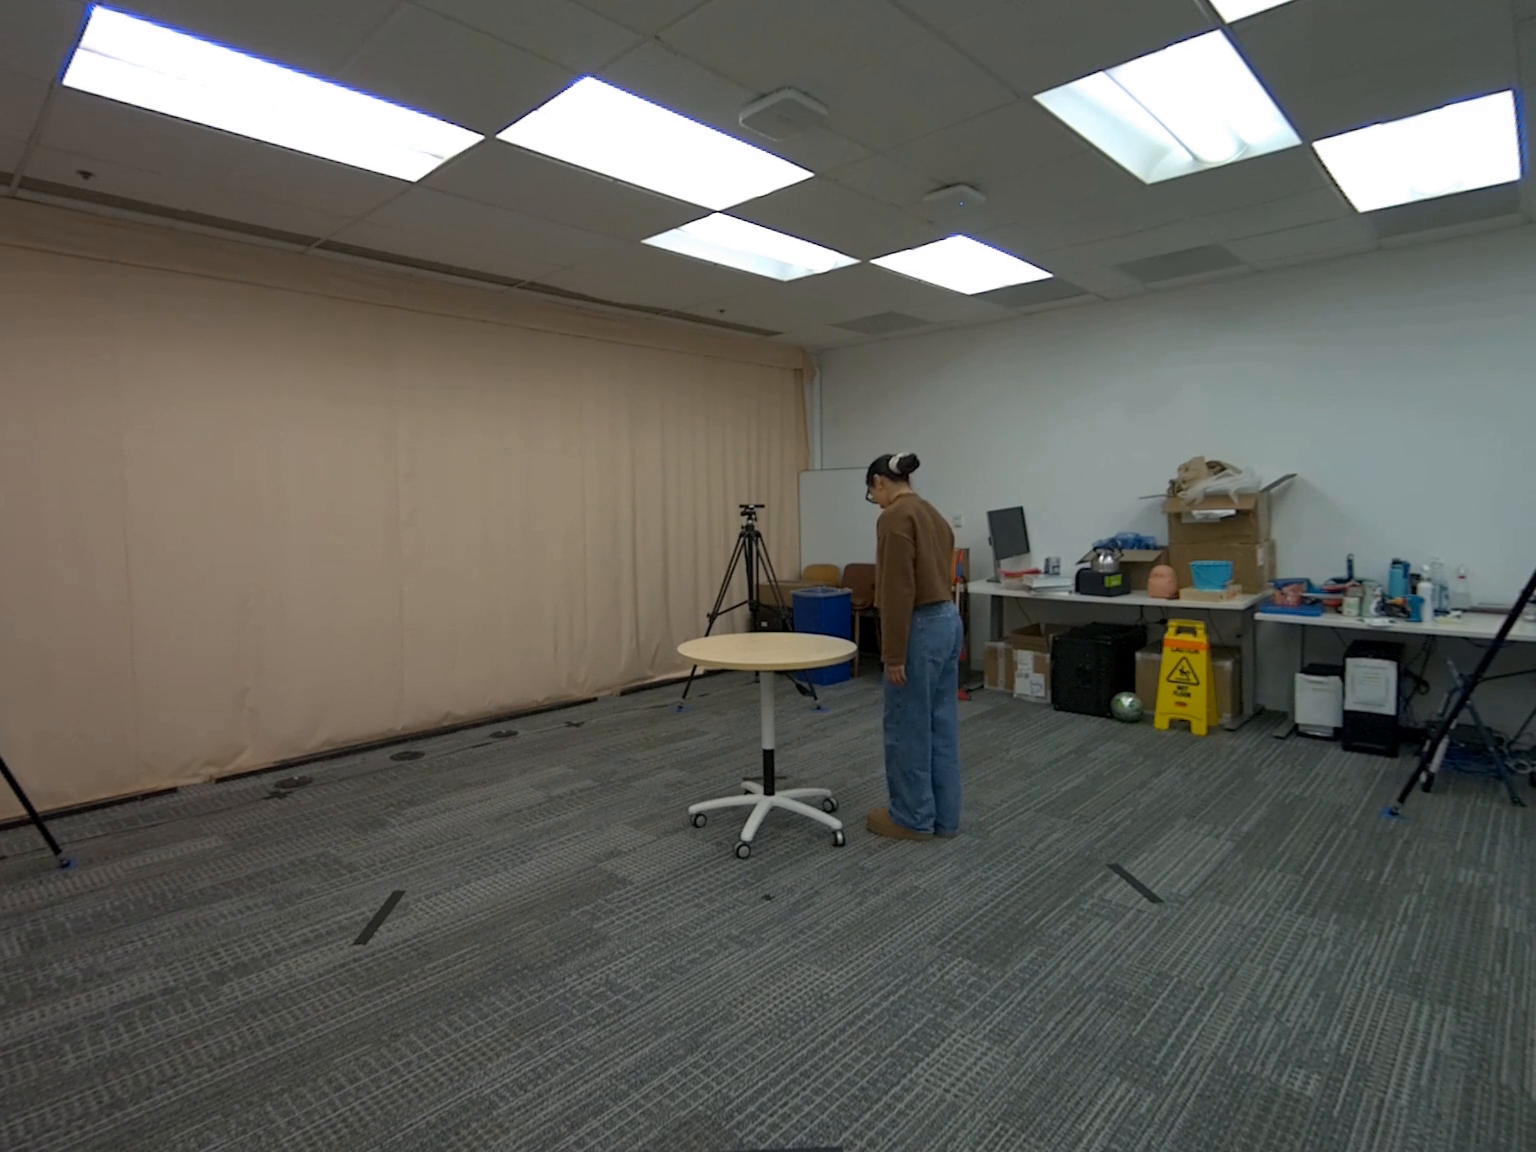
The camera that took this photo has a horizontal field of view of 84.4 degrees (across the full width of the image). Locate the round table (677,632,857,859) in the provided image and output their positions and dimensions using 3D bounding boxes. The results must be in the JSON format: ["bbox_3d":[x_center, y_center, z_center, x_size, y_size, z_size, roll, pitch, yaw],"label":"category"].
[{"bbox_3d":[0.010,0.698,3.624,0.763,0.792,0.766,-1,4,-2],"label":"round table"}]
